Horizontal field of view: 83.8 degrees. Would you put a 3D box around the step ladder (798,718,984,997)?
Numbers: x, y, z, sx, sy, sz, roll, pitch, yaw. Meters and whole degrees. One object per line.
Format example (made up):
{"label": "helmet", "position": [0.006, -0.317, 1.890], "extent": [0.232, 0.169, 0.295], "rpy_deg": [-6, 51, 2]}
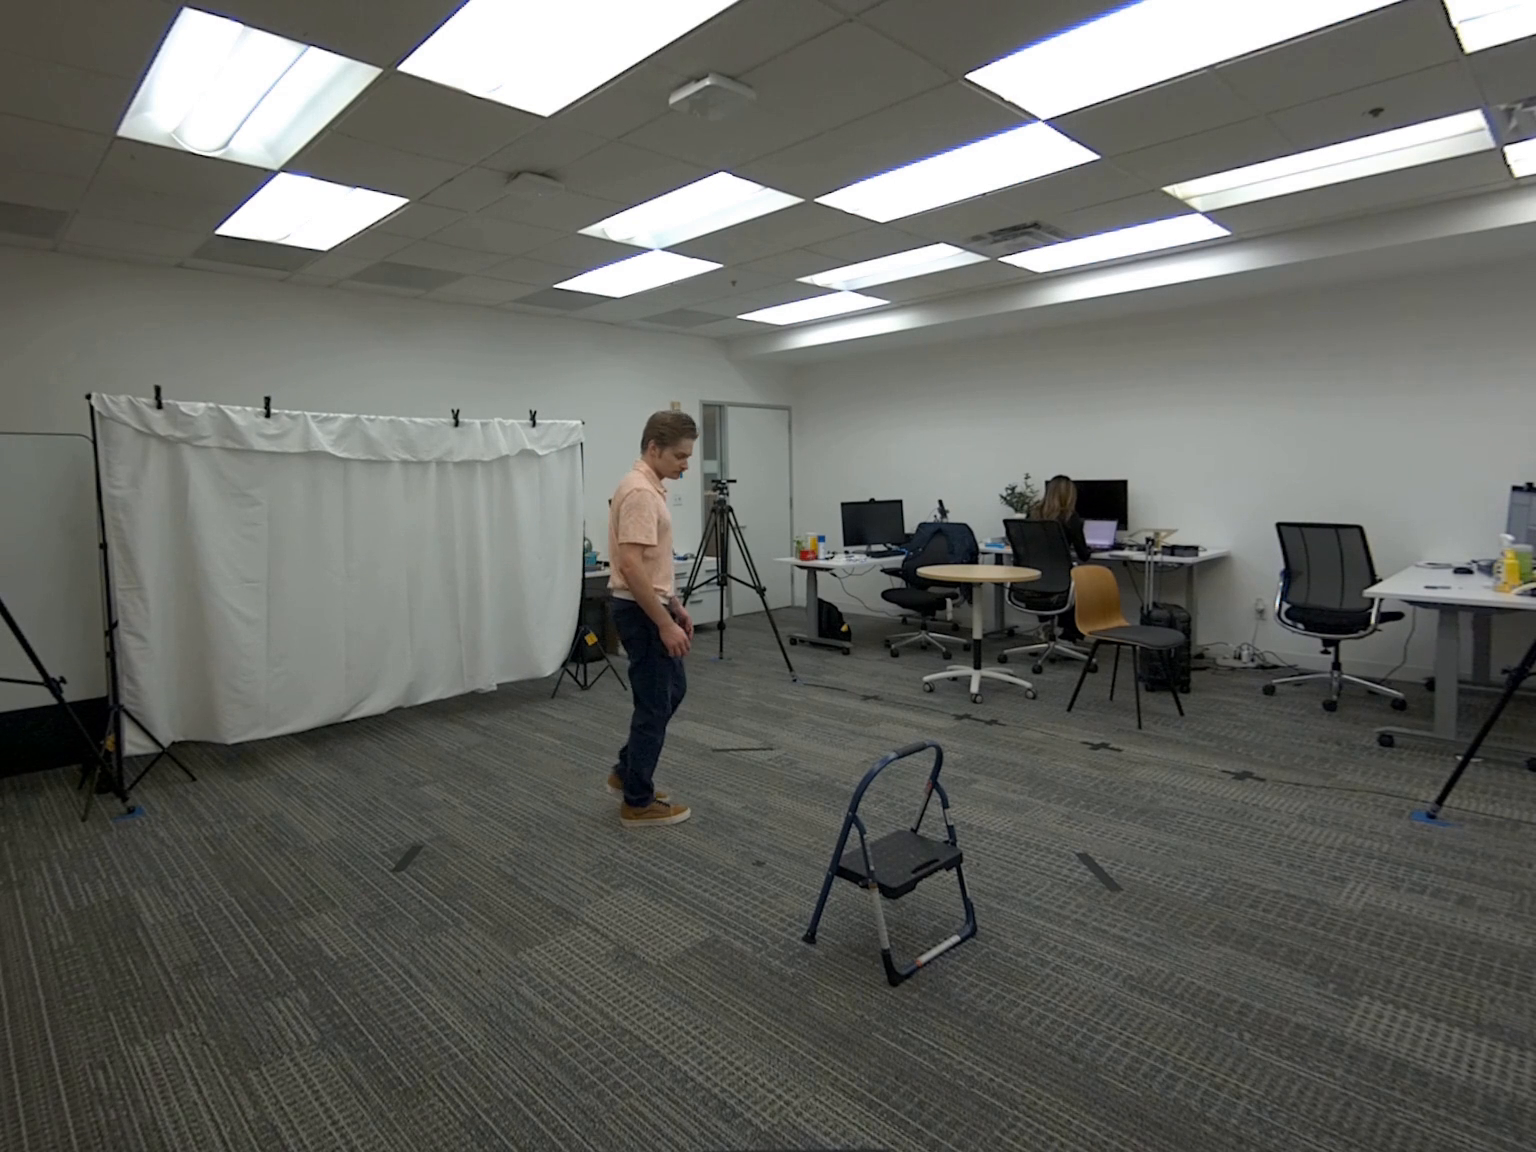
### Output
{"label": "step ladder", "position": [0.373, 0.805, 2.580], "extent": [0.419, 0.603, 0.360], "rpy_deg": [-7, 7, -44]}
